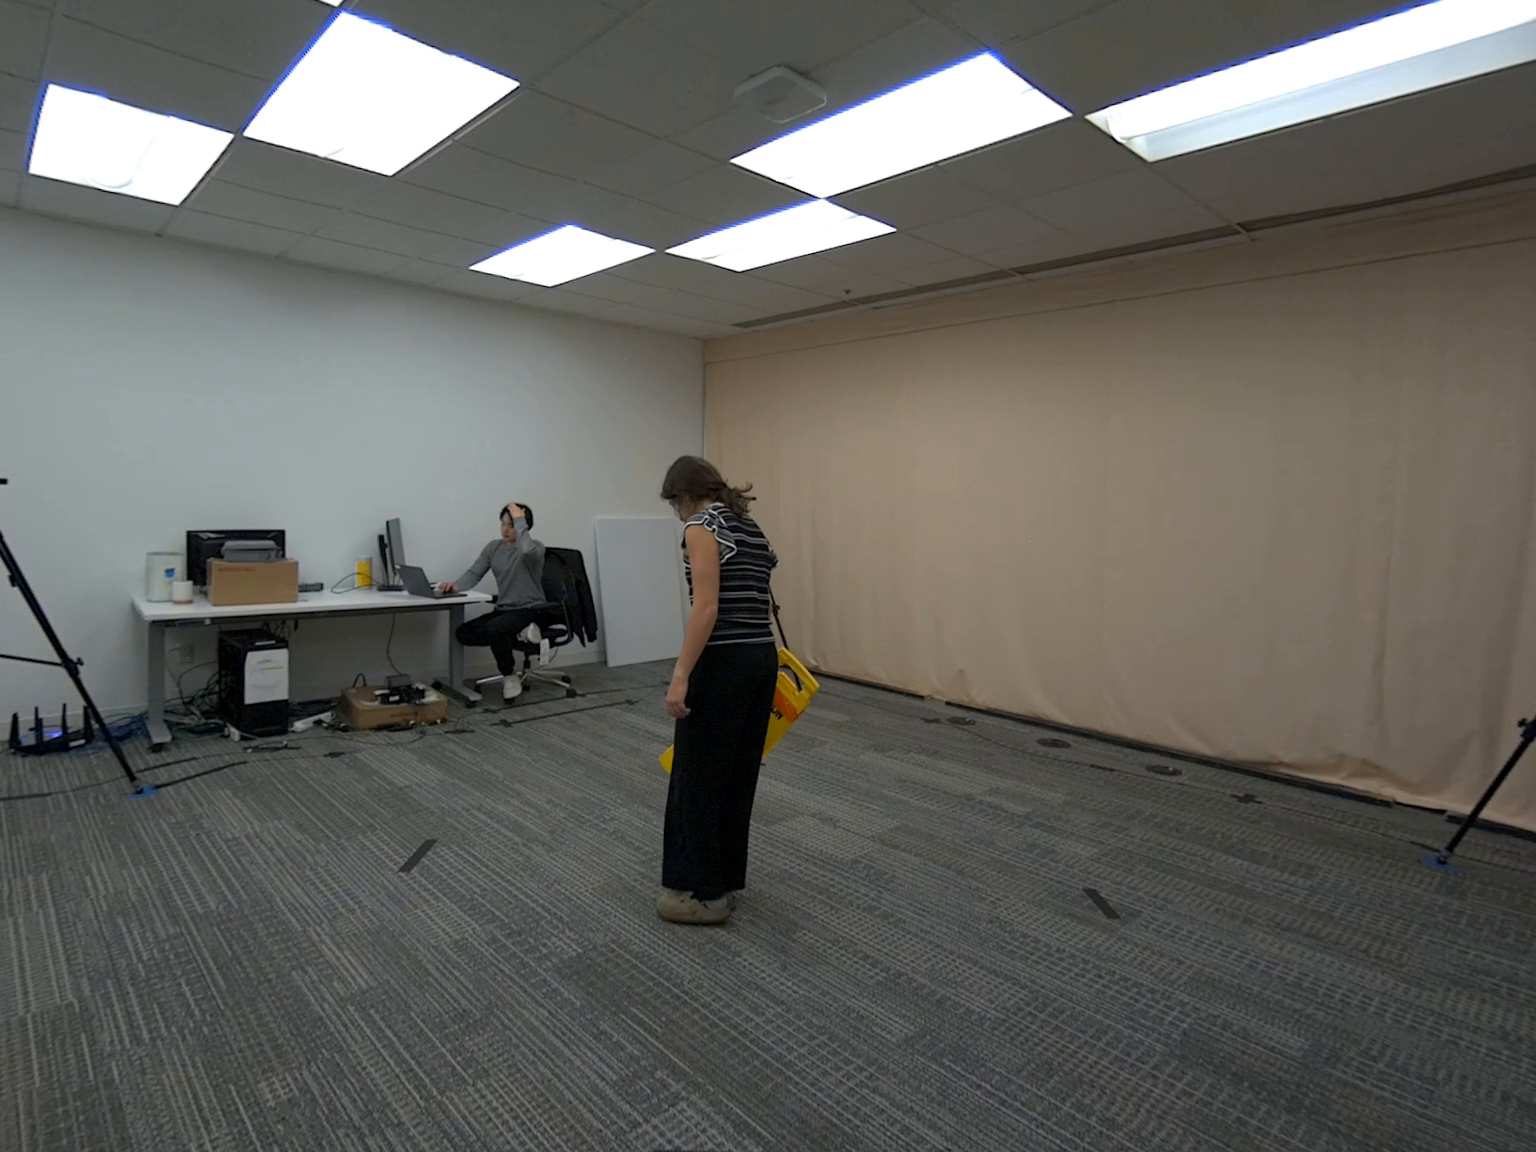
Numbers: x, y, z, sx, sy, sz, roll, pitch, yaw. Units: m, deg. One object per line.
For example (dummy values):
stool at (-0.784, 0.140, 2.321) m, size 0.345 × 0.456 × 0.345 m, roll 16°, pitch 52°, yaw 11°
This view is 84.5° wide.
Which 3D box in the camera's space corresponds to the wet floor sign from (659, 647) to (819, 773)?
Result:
wet floor sign at (-0.080, 0.548, 3.109) m, size 0.286 × 0.645 × 0.286 m, roll 46°, pitch 24°, yaw 13°
